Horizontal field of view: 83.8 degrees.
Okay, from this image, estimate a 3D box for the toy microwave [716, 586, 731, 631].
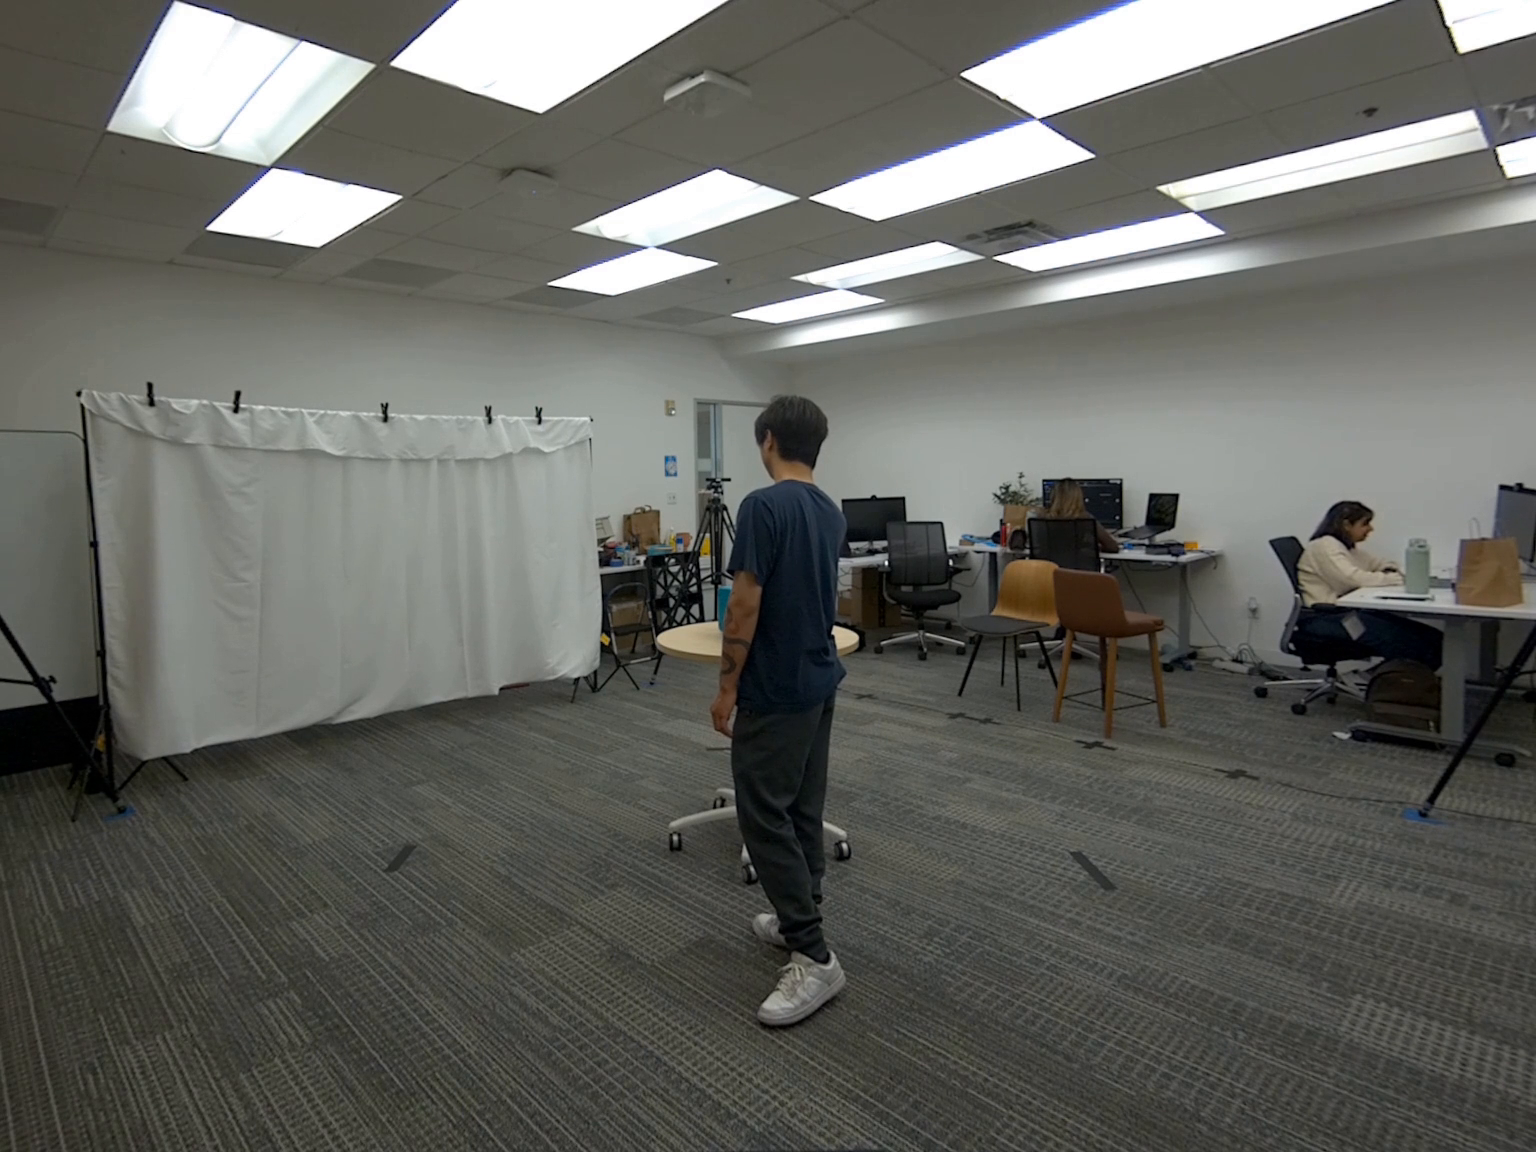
[{"bbox_3d":[-0.048,0.138,3.264,0.148,0.183,0.295,-4,7,-36],"label":"toy microwave"}]
